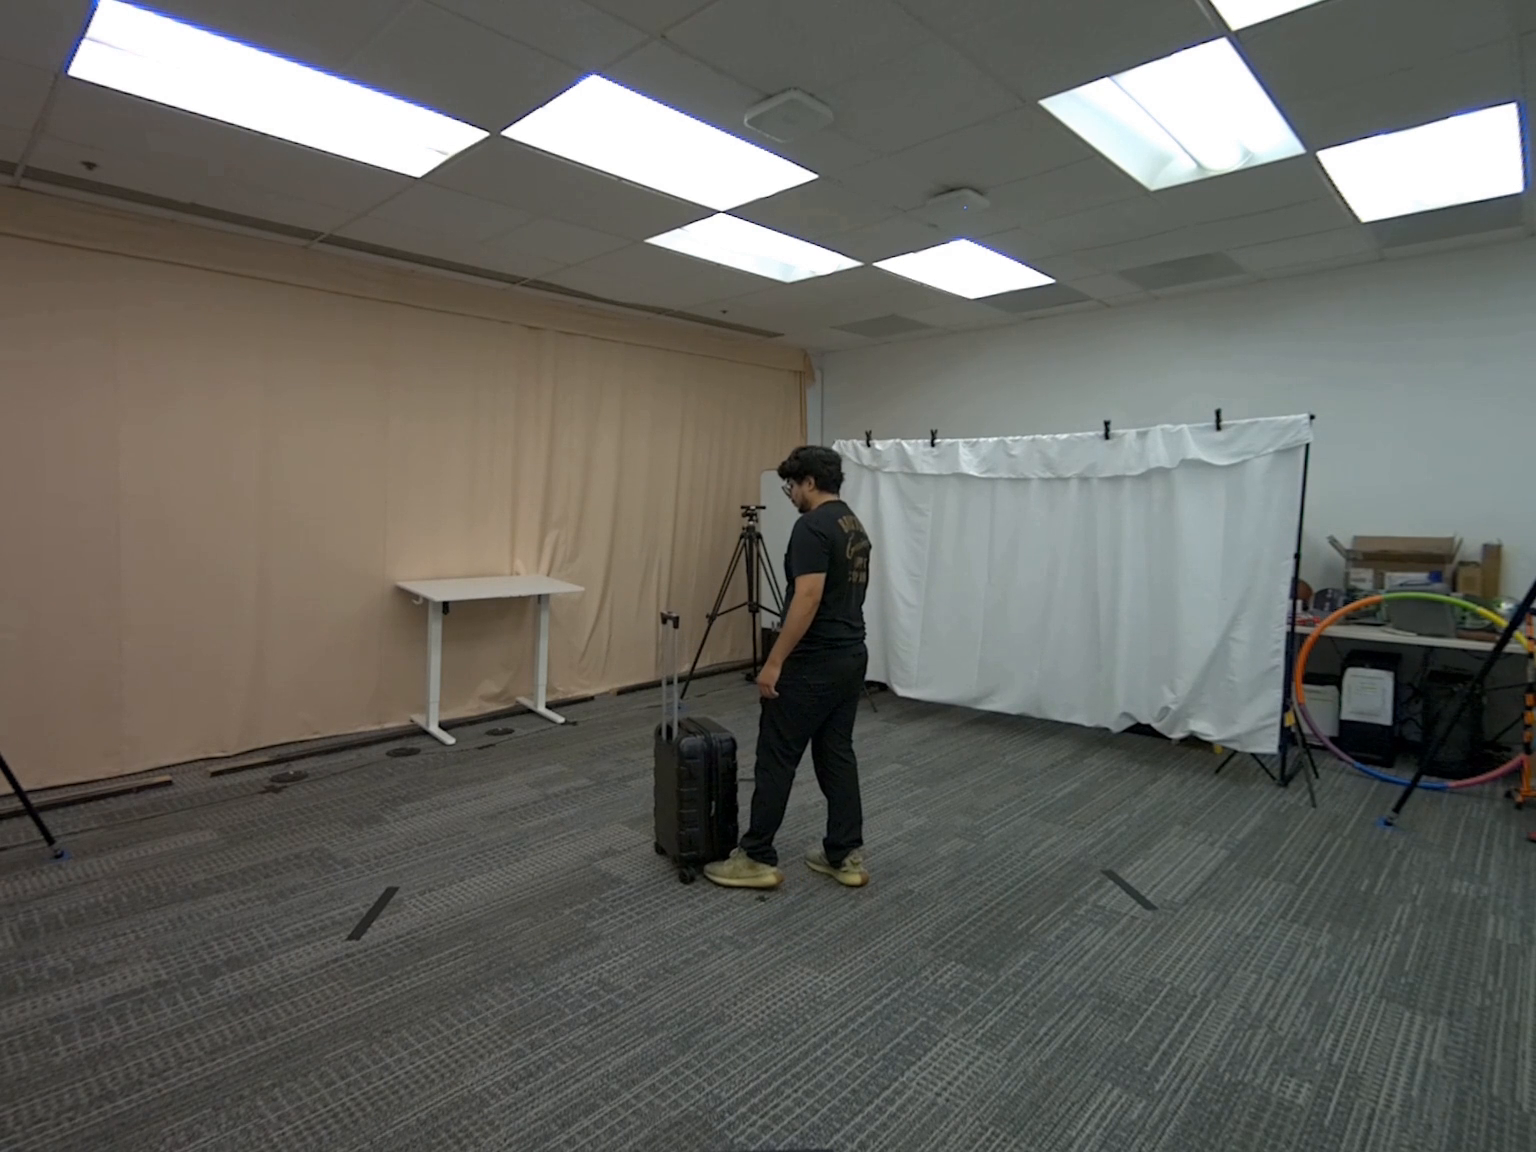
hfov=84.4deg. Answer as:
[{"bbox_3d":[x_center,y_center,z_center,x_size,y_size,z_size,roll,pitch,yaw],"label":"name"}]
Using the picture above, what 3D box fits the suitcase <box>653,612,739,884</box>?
[{"bbox_3d":[-0.285,0.639,3.294,0.252,0.977,0.393,-1,2,-22],"label":"suitcase"}]
